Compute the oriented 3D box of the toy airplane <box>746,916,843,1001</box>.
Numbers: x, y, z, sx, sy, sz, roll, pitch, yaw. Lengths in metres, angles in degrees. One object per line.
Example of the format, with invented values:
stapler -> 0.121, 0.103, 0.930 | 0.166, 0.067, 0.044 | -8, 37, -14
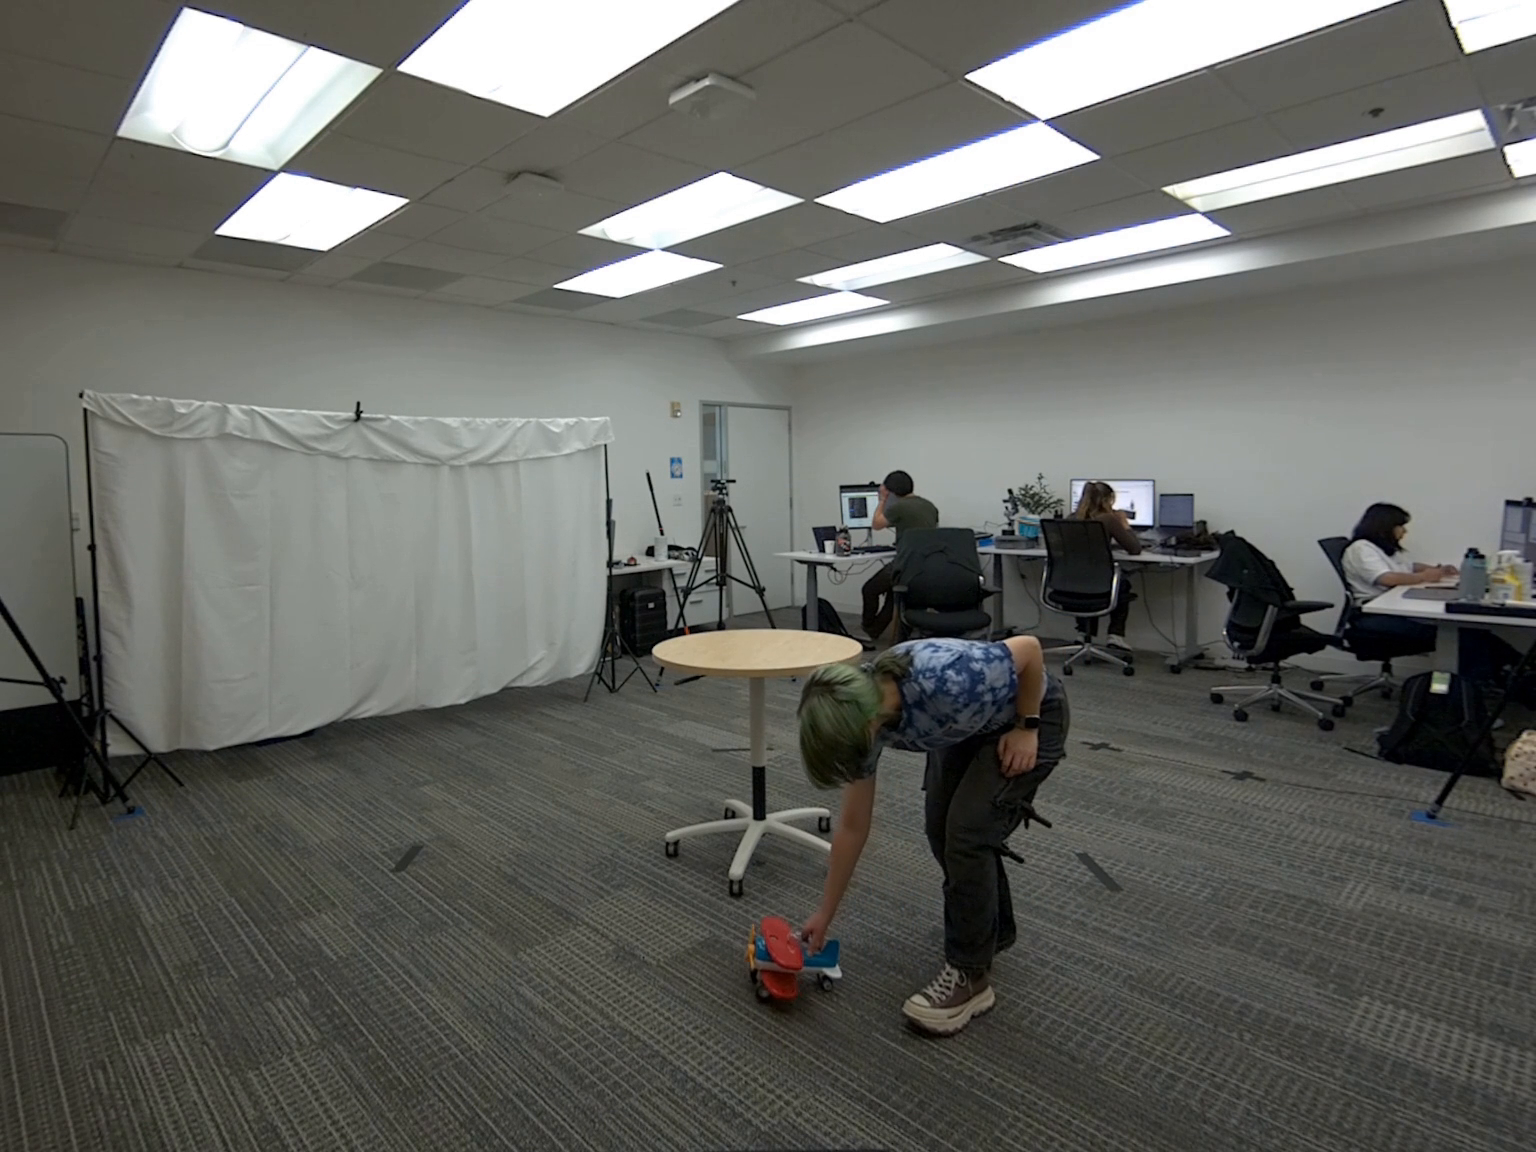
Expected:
toy airplane -> 0.068, 1.063, 2.353 | 0.253, 0.156, 0.258 | -6, 7, -36
